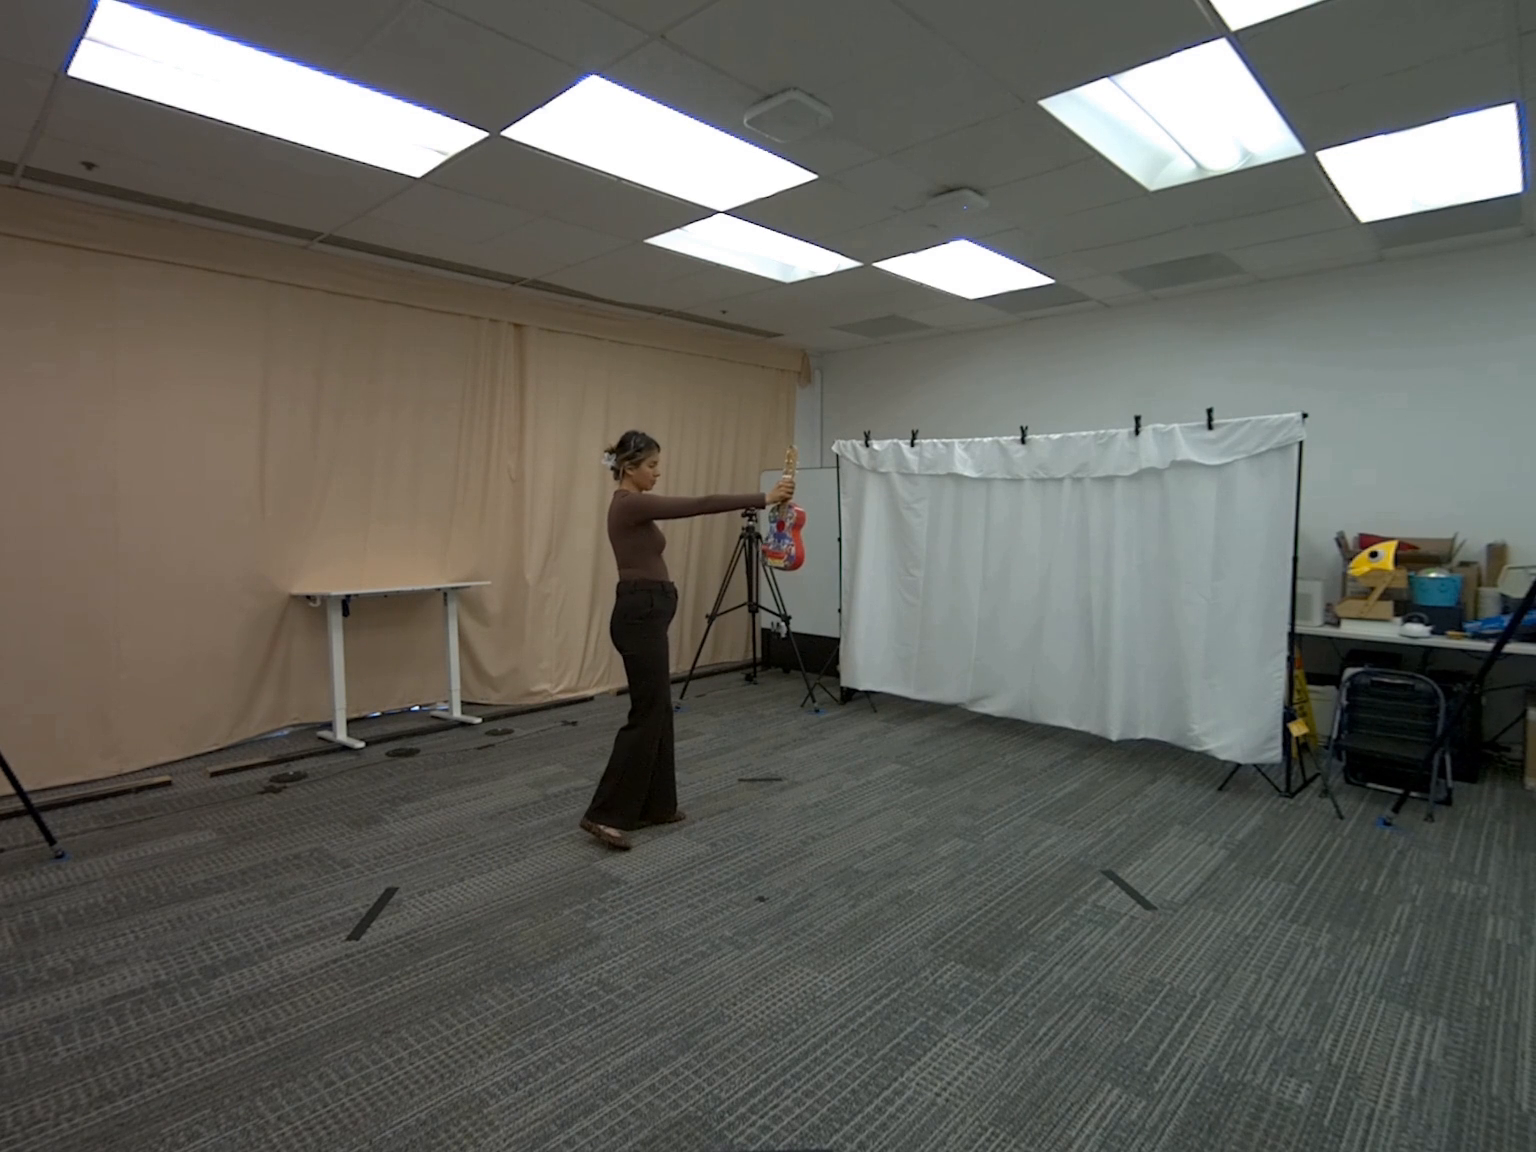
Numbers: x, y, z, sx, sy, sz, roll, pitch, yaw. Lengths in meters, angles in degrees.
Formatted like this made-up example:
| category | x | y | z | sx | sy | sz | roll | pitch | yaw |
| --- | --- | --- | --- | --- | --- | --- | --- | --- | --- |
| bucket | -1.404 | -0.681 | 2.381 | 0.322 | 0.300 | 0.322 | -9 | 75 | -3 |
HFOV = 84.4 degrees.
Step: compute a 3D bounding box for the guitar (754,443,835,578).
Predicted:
| category | x | y | z | sx | sy | sz | roll | pitch | yaw |
| --- | --- | --- | --- | --- | --- | --- | --- | --- | --- |
| guitar | 0.101 | -0.265 | 3.377 | 0.200 | 0.497 | 0.068 | 19 | 6 | 42 |
